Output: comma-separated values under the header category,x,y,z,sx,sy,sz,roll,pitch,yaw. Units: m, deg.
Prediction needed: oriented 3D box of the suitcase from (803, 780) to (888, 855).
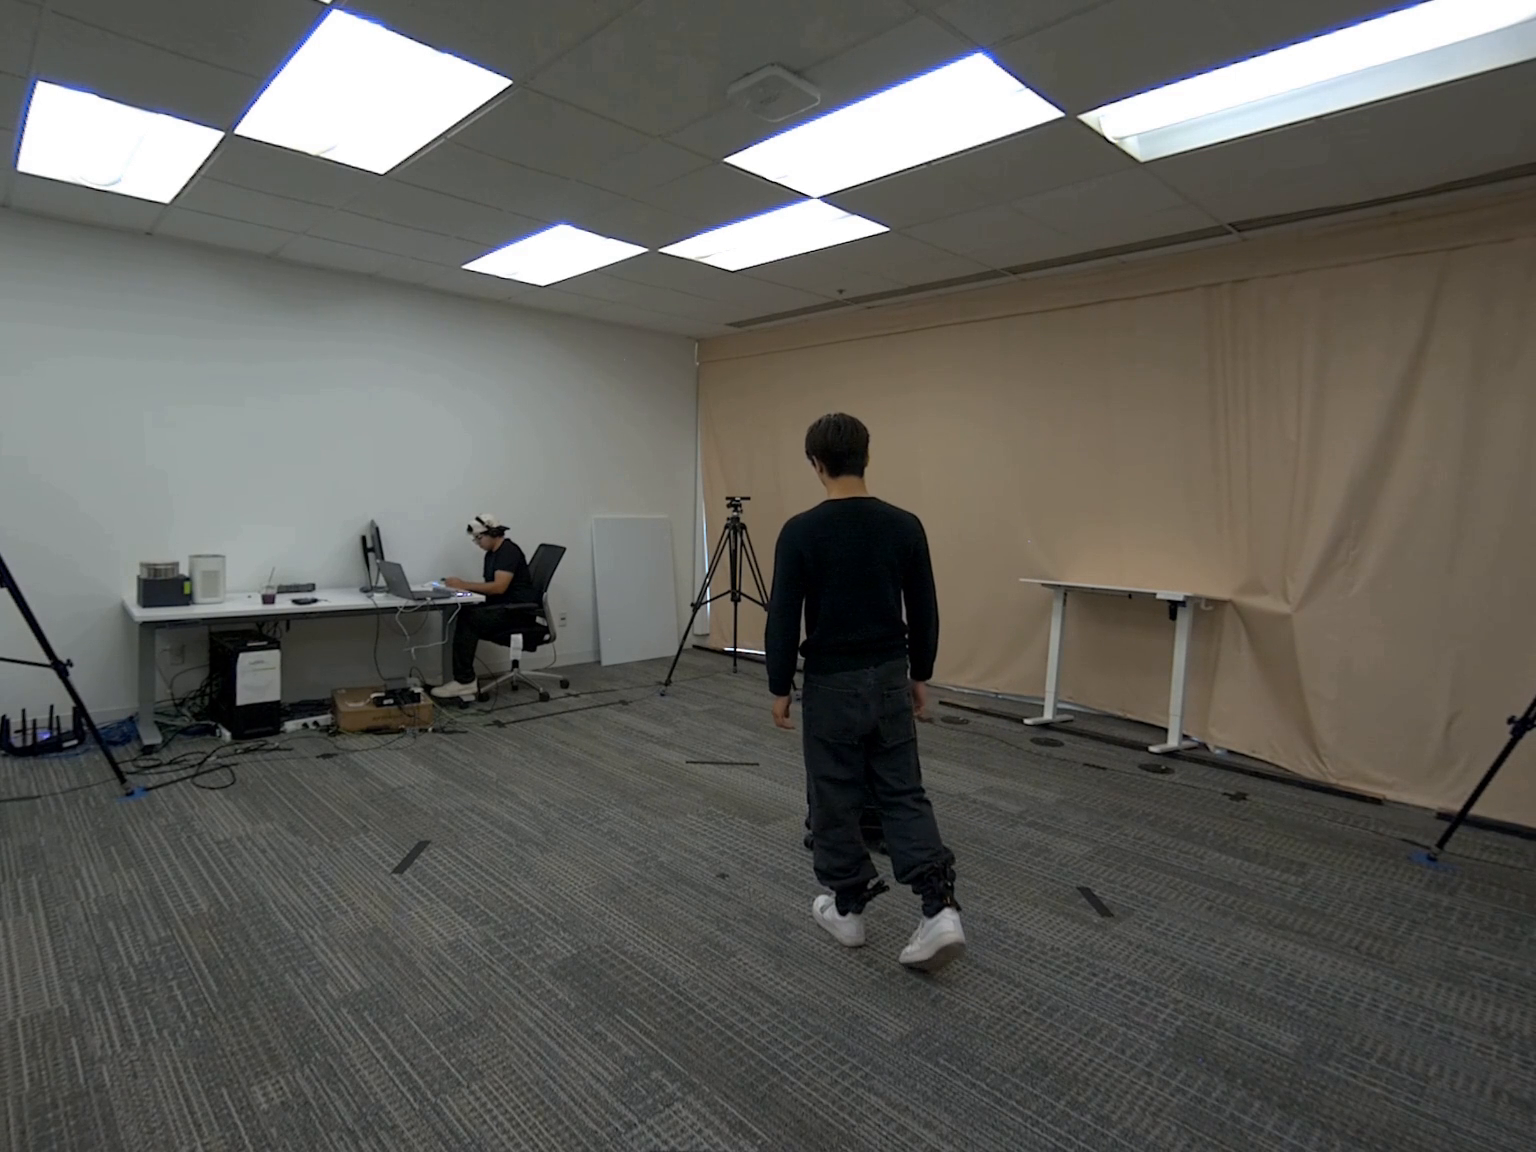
category,x,y,z,sx,sy,sz,roll,pitch,yaw
suitcase,0.357,0.615,3.447,0.386,0.978,0.256,3,0,5
